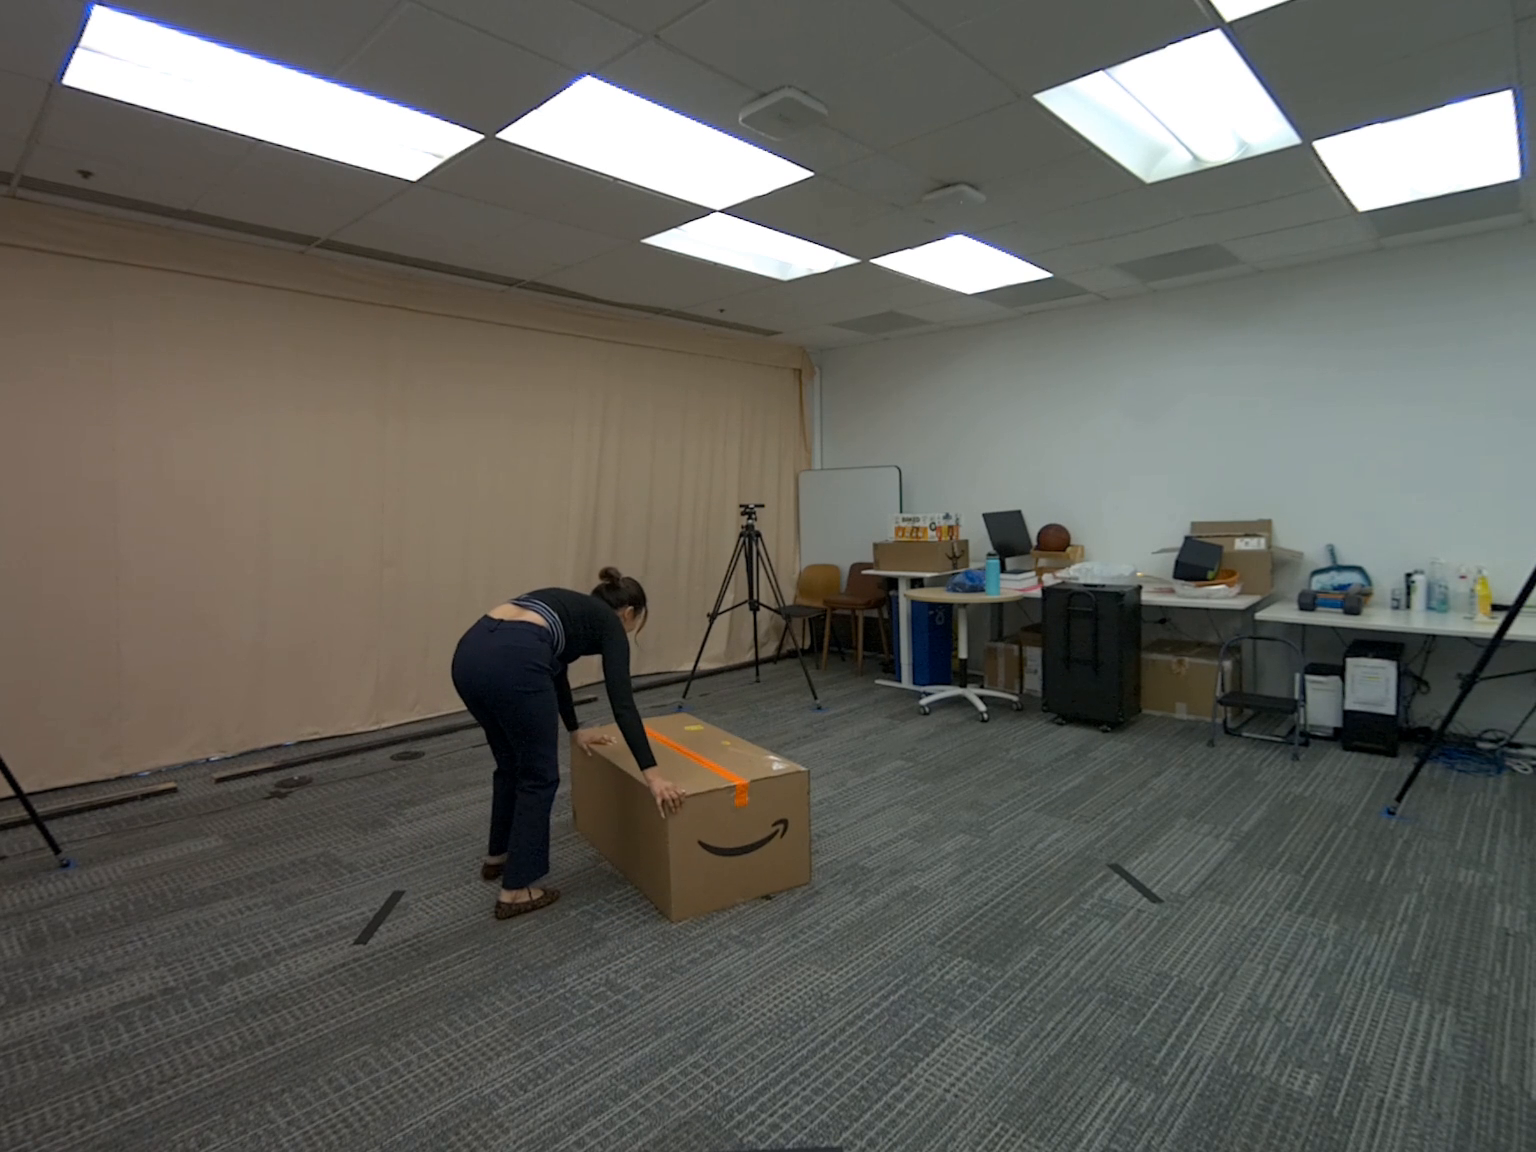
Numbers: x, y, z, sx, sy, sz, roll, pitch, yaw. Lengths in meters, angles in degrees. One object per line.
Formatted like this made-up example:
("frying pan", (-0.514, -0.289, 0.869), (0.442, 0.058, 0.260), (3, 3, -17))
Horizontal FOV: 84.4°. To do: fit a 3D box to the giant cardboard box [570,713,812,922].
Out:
("giant cardboard box", (-0.351, 0.897, 3.386), (0.562, 0.425, 1.056), (-5, 6, -31))
